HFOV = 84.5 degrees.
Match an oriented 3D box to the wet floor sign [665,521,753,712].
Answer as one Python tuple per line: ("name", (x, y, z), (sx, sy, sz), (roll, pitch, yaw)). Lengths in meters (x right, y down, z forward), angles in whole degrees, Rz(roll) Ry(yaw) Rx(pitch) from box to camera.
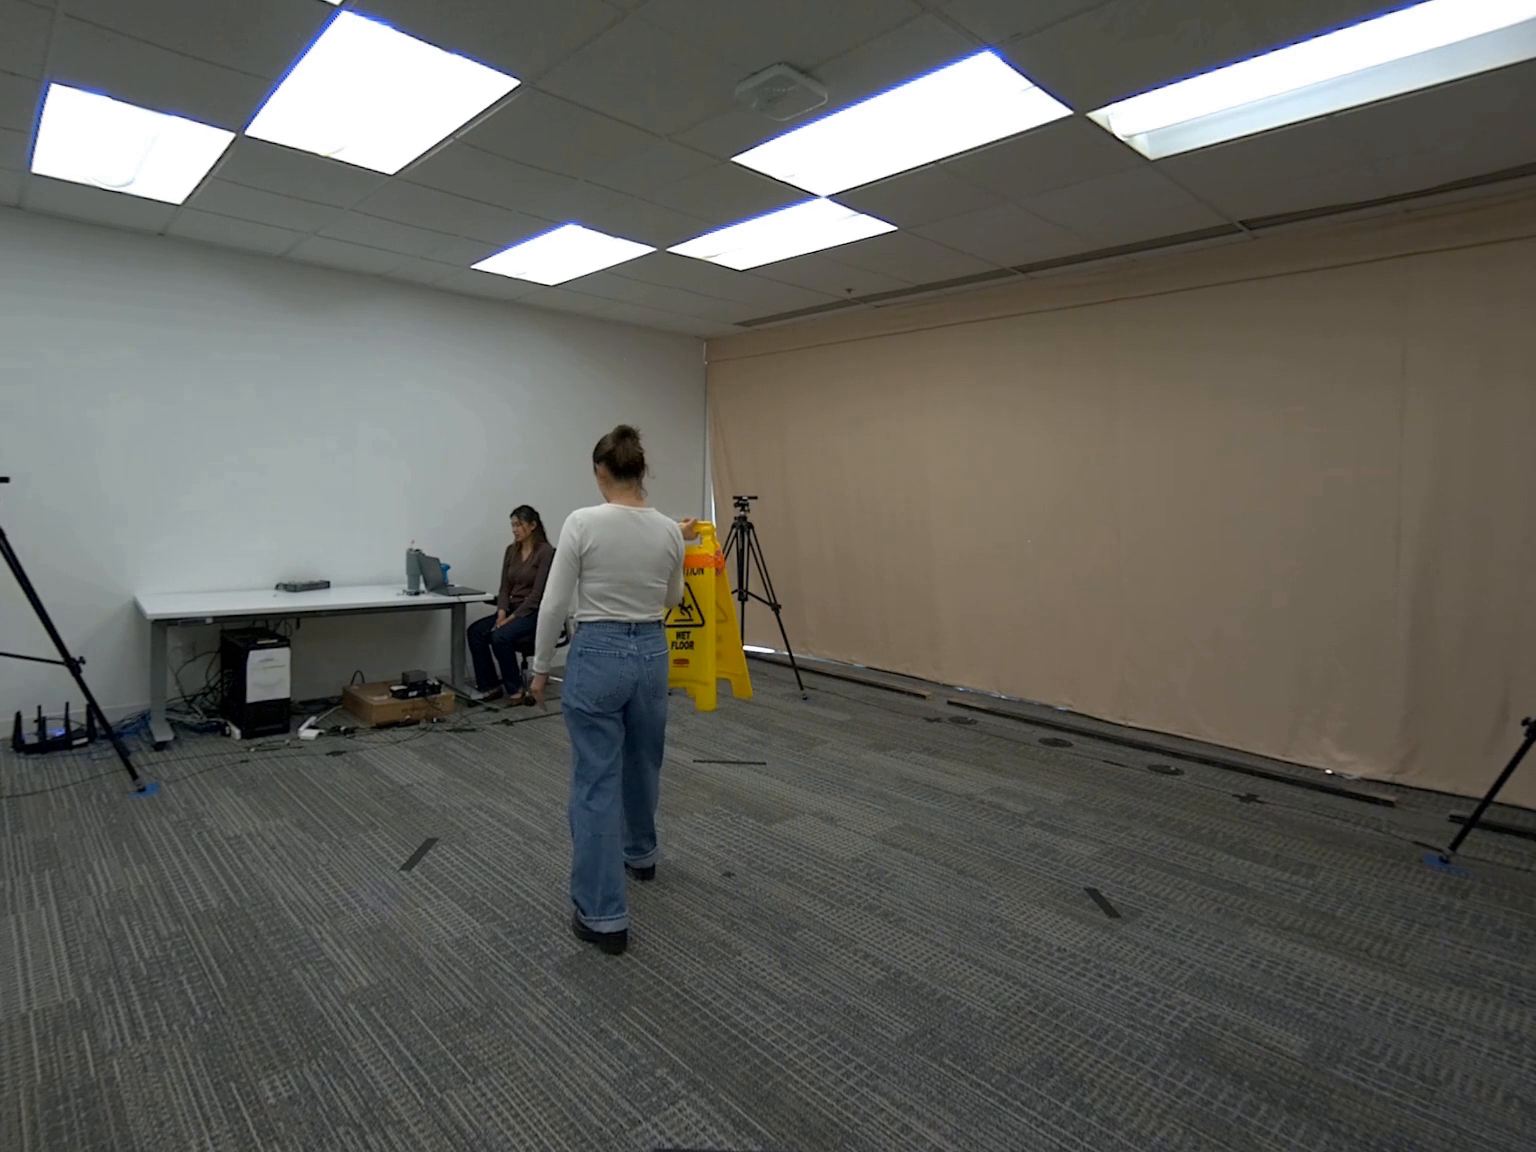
("wet floor sign", (-0.267, 0.131, 3.026), (0.287, 0.647, 0.284), (-5, -2, 29))
